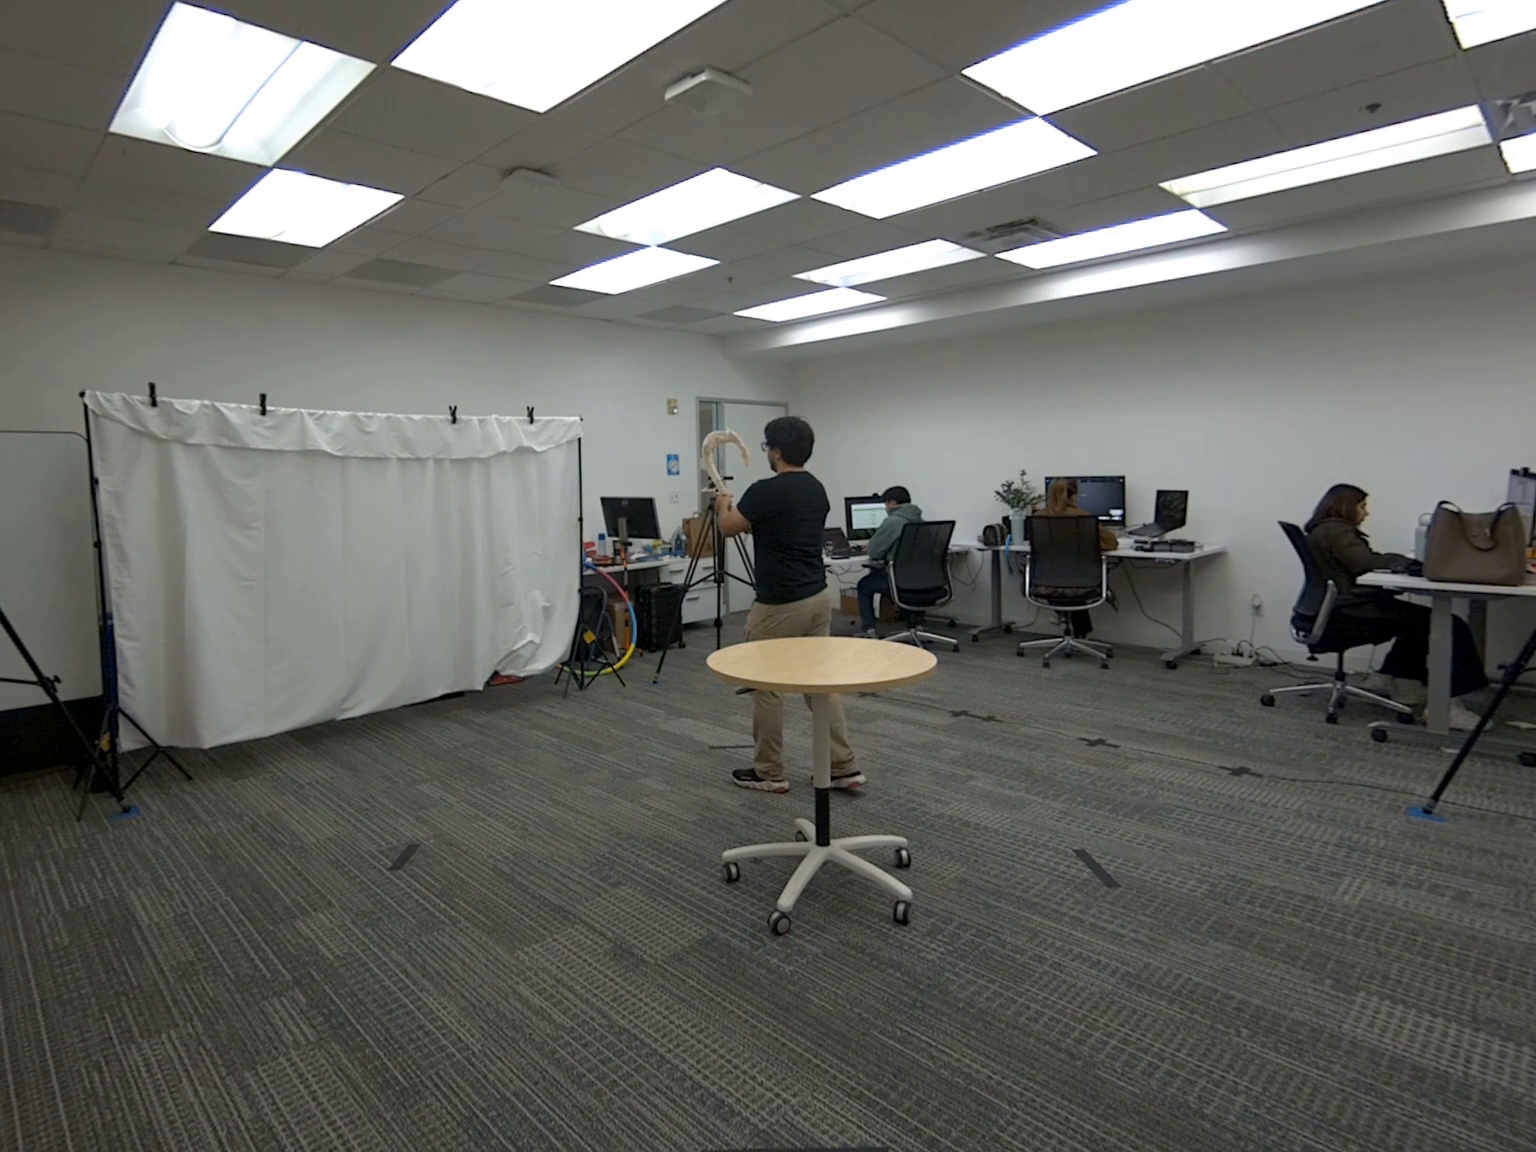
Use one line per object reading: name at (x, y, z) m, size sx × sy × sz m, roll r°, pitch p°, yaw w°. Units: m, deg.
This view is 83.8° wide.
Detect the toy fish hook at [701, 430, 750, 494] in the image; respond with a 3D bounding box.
toy fish hook at (-0.174, -0.458, 4.140) m, size 0.223 × 0.506 × 0.048 m, roll -11°, pitch 2°, yaw -5°
